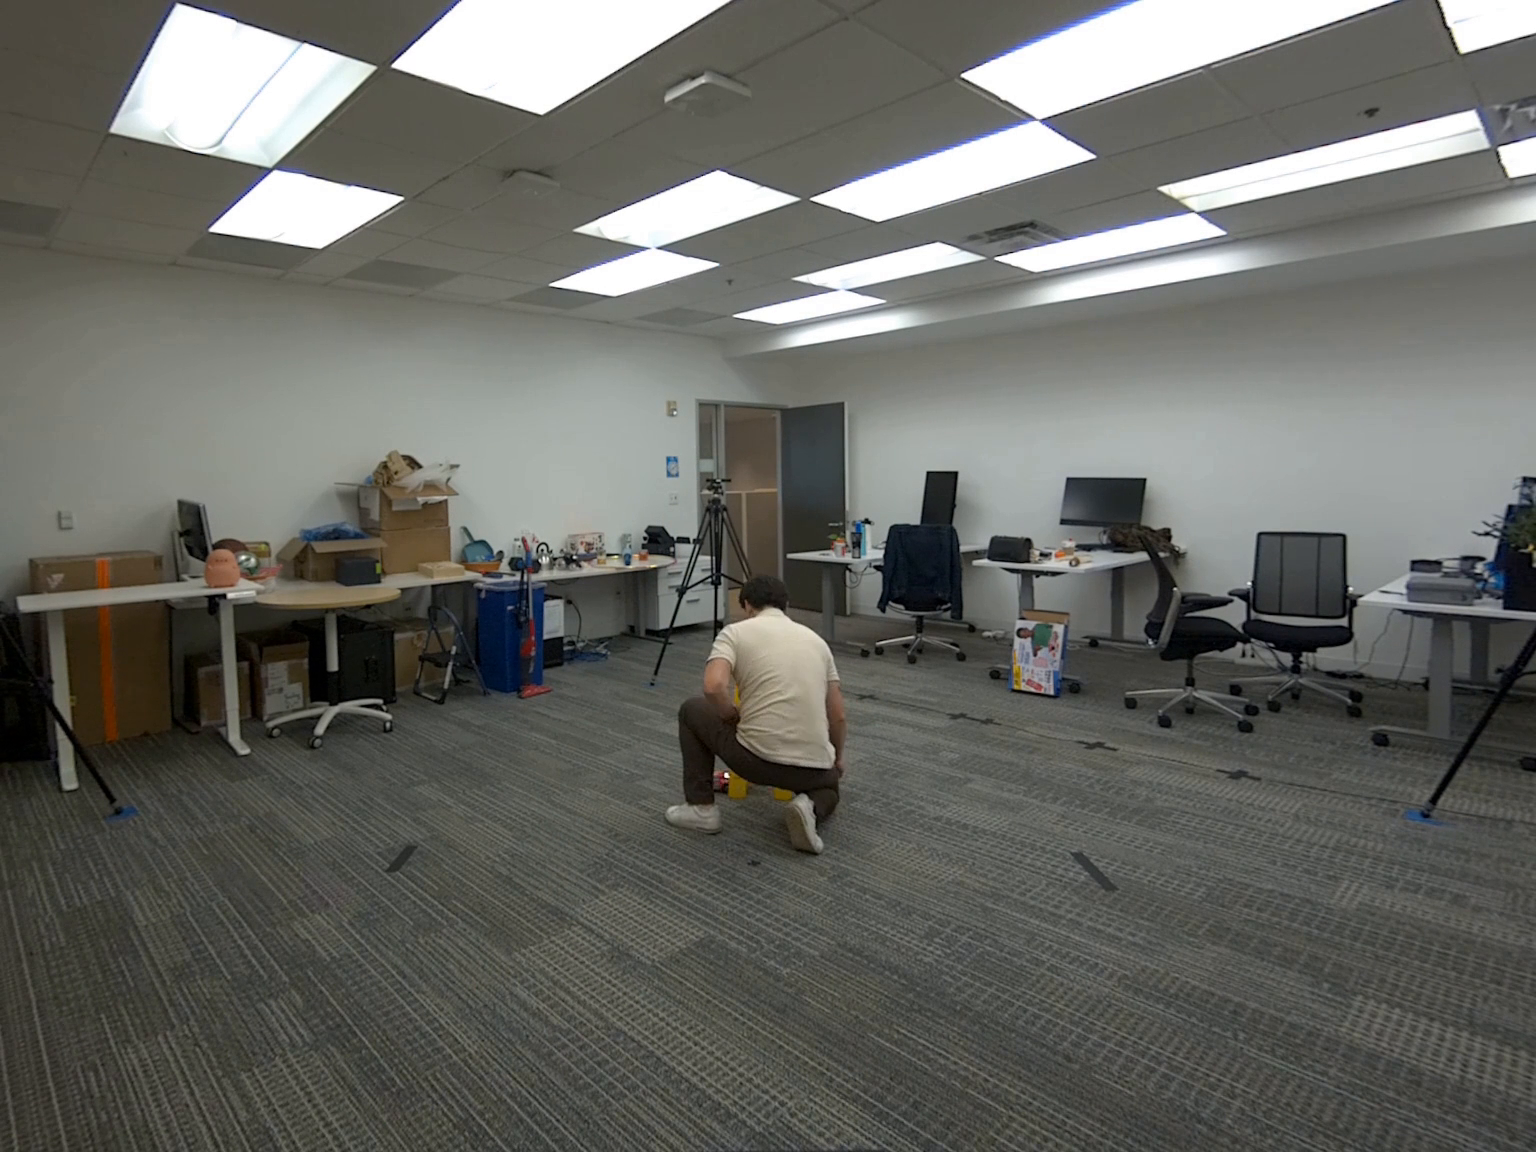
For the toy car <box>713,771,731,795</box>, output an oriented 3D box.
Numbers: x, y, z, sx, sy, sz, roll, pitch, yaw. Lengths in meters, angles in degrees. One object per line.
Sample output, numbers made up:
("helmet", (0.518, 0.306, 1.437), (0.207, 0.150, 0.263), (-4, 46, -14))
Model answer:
("toy car", (-0.216, 0.933, 3.863), (0.255, 0.083, 0.130), (-12, 3, 4))
